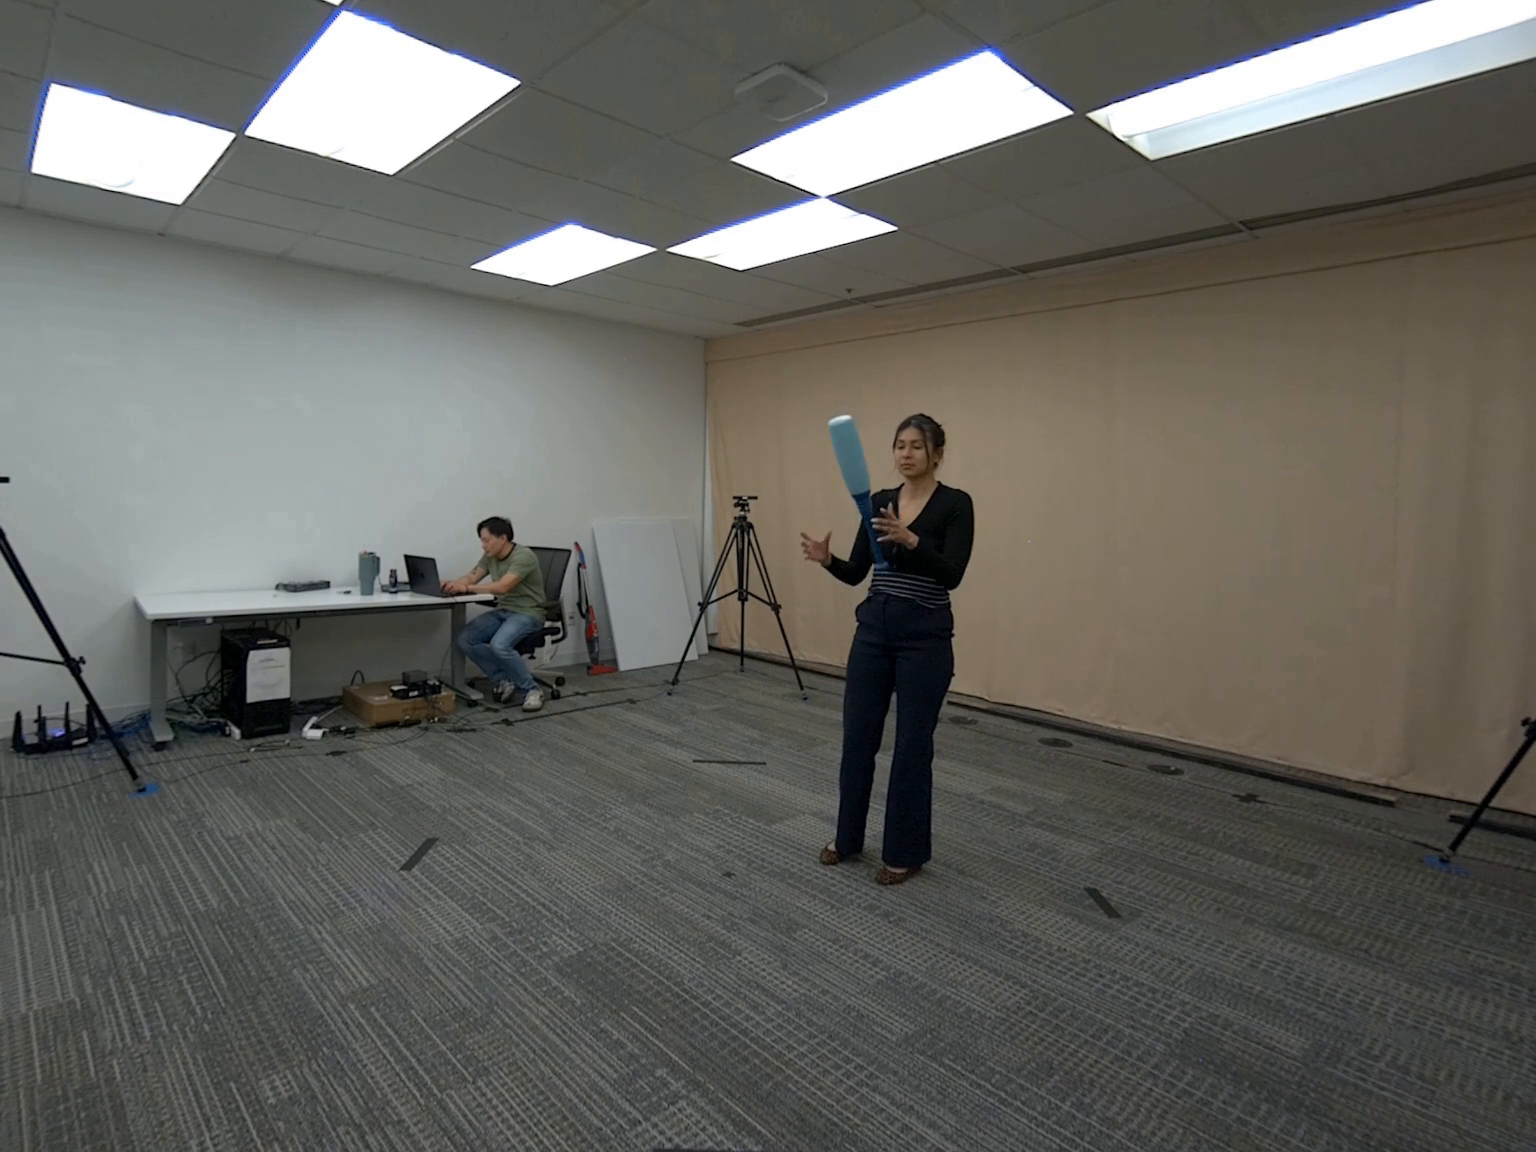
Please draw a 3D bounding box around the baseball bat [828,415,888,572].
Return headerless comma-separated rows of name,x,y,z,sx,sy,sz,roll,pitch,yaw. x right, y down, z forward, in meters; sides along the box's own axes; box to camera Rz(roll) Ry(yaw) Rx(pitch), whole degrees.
baseball bat,0.301,-0.216,2.752,0.089,0.534,0.090,-15,19,4
